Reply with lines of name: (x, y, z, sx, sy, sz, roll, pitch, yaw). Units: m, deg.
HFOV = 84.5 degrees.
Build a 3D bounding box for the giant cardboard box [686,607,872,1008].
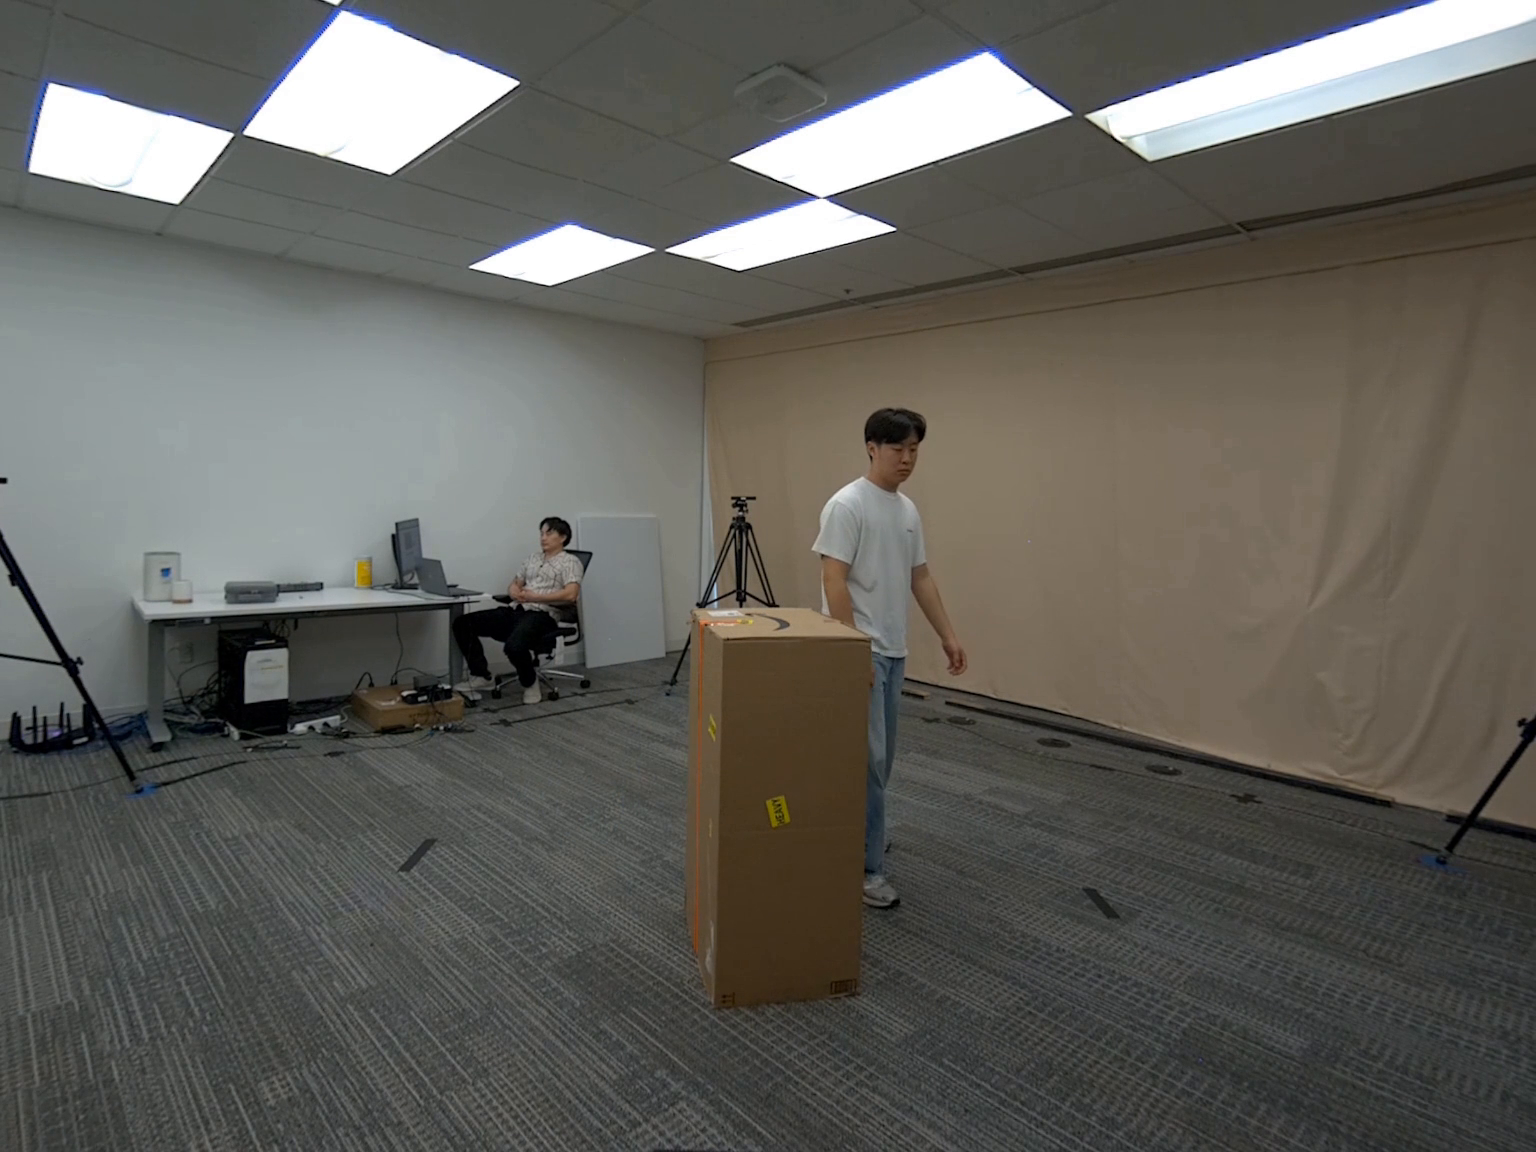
giant cardboard box: (-0.005, 0.649, 2.574, 0.421, 1.023, 0.585, 1, 4, -15)
